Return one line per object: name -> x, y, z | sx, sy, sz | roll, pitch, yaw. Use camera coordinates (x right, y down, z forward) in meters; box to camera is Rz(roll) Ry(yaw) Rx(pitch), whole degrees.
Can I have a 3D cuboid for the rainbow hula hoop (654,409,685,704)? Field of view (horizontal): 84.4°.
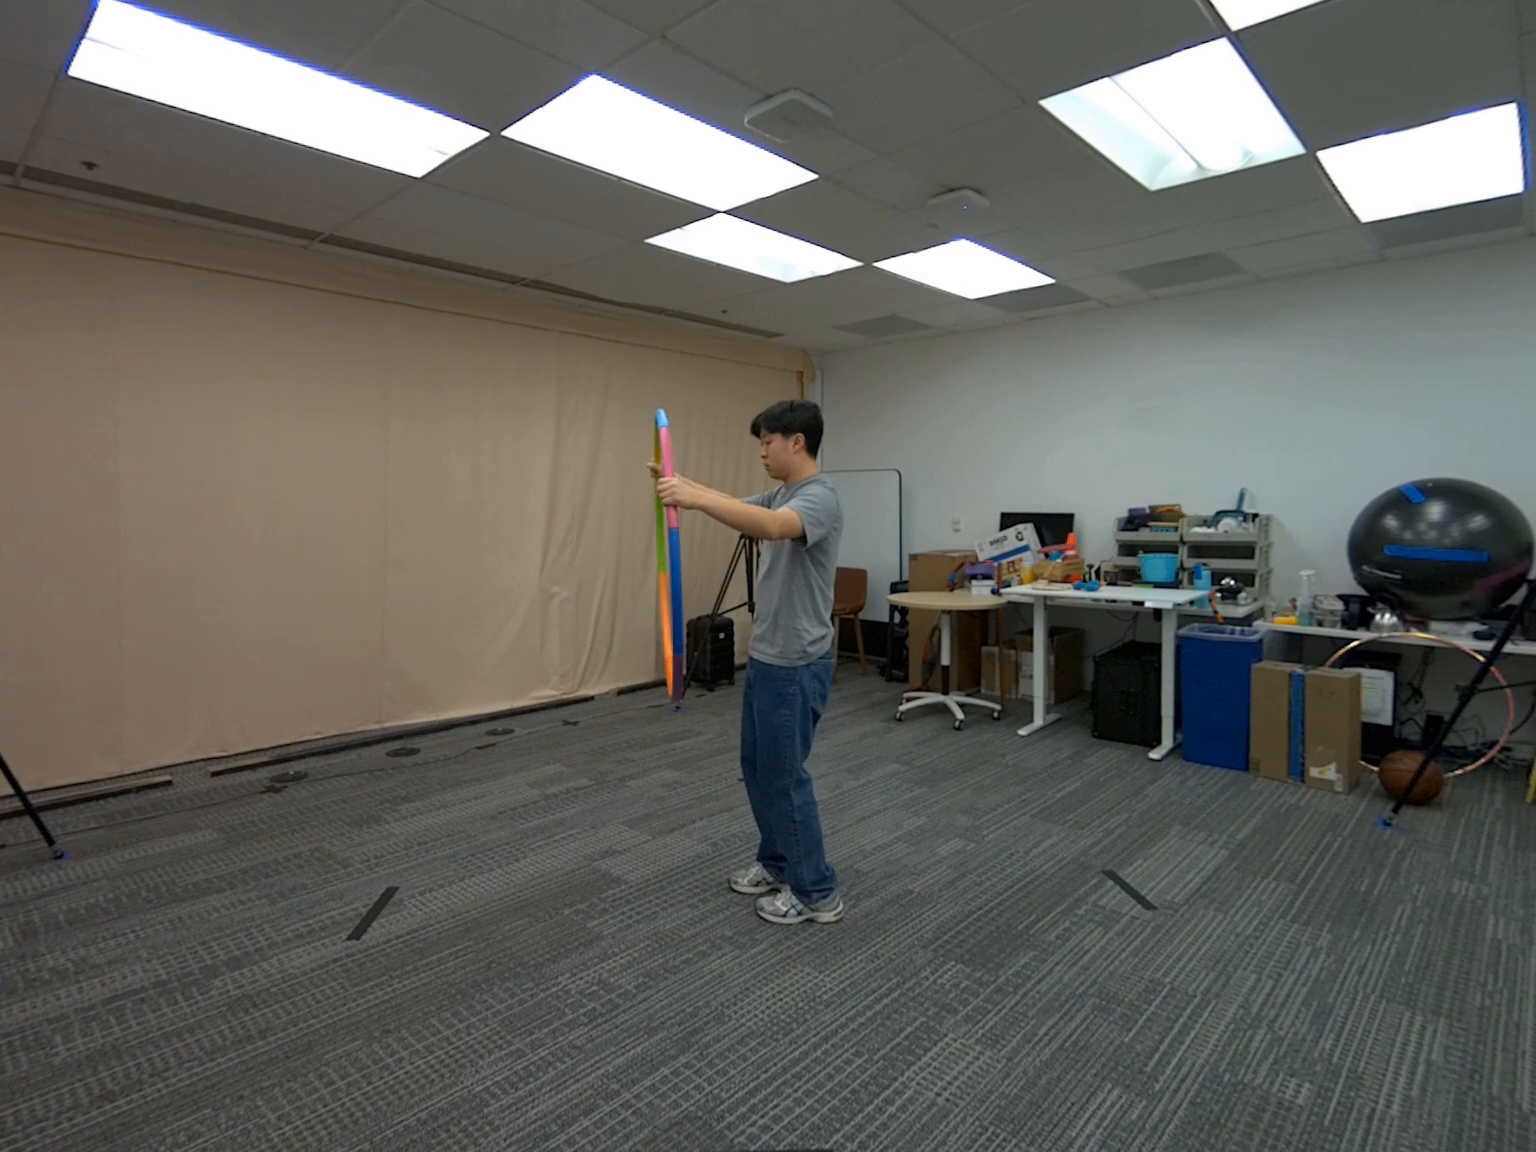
rainbow hula hoop -> -0.334, -0.065, 2.869 | 0.035, 0.976, 0.988 | -3, 4, -8
